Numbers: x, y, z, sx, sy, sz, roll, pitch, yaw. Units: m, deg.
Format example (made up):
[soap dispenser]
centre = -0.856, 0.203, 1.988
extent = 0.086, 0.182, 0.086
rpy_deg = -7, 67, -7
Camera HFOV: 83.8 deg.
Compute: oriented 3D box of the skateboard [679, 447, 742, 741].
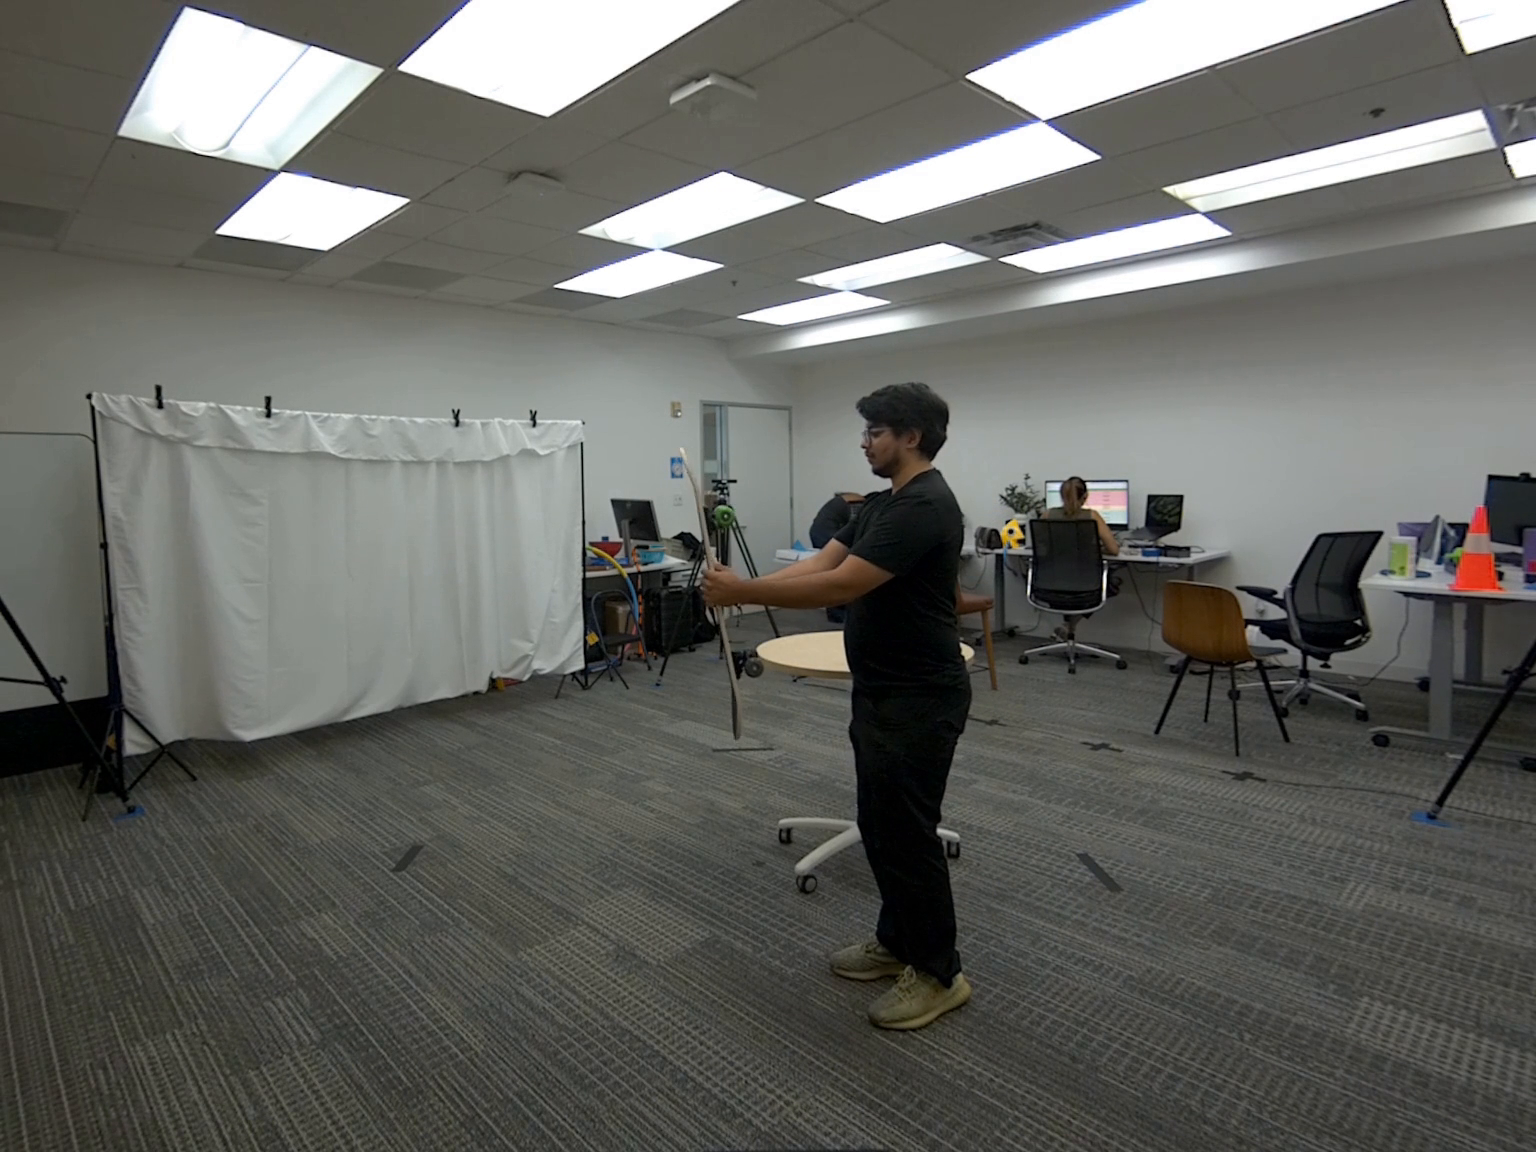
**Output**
[skateboard]
centre = -0.107, 0.045, 2.269
extent = 0.110, 0.782, 0.195
rpy_deg = -10, 3, -6
